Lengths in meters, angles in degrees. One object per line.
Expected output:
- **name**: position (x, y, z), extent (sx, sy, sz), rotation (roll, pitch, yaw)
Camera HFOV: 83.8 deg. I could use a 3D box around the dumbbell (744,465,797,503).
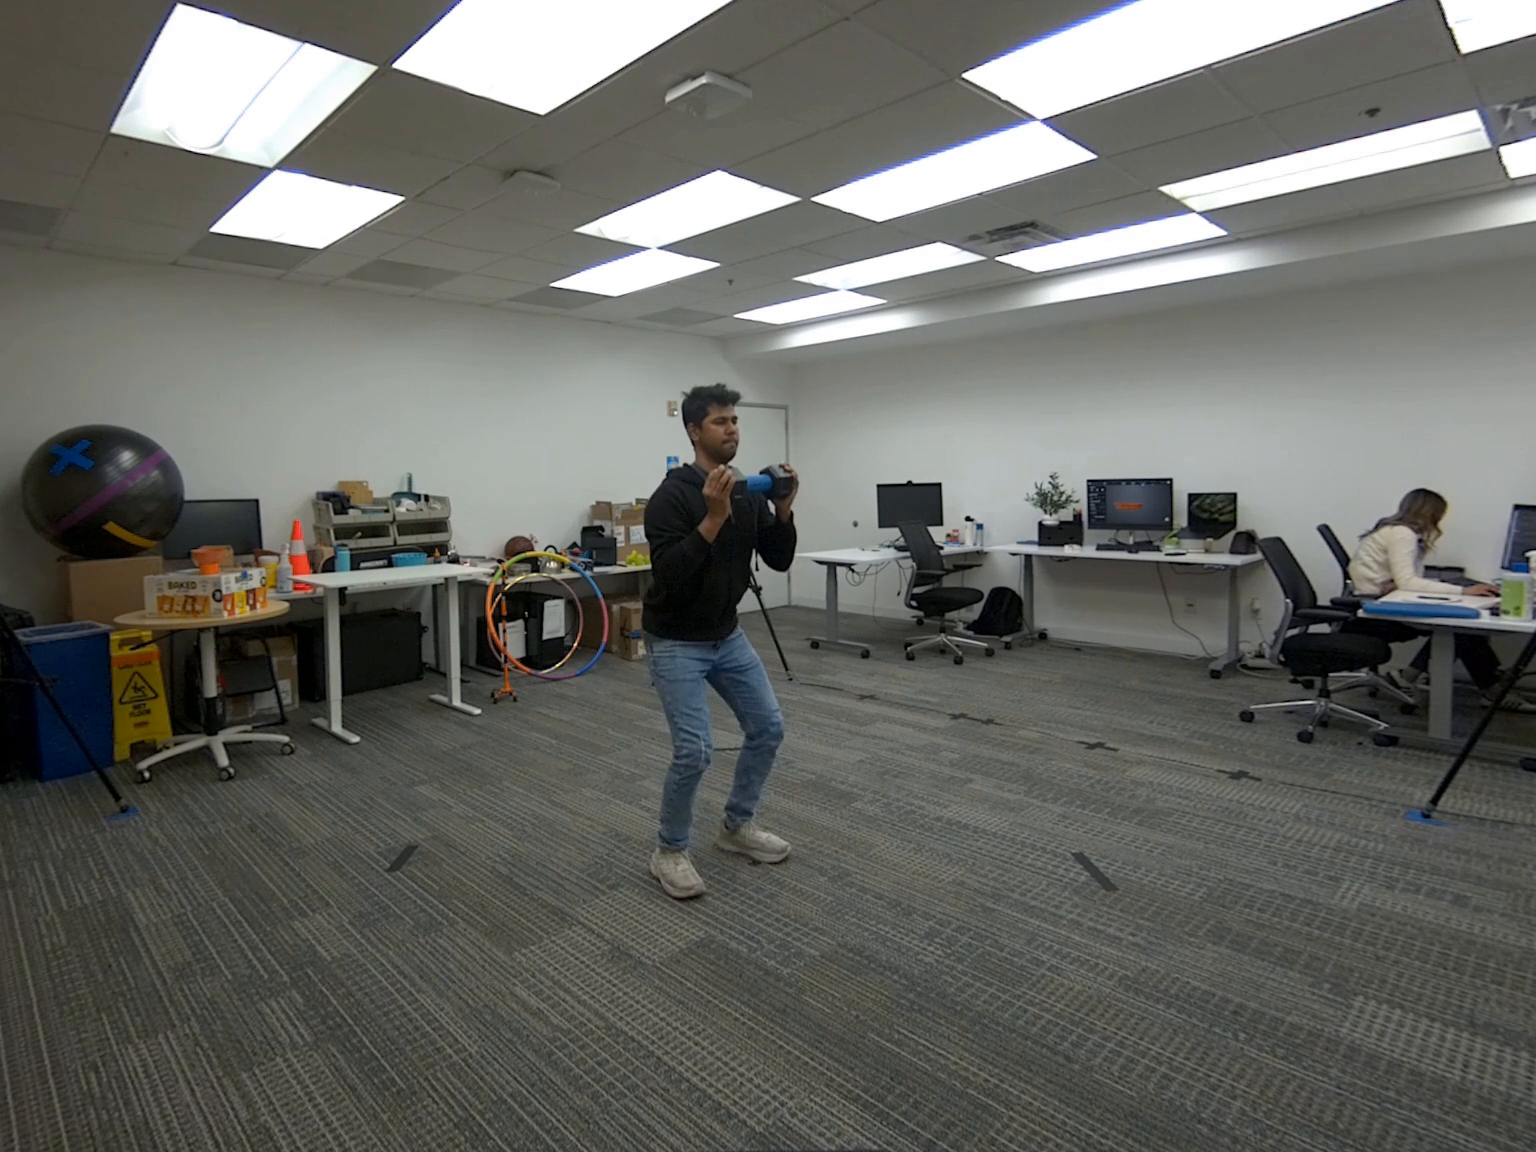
- **dumbbell**: position (-0.061, -0.294, 2.851), extent (0.286, 0.121, 0.113), rotation (-10, 20, -42)
